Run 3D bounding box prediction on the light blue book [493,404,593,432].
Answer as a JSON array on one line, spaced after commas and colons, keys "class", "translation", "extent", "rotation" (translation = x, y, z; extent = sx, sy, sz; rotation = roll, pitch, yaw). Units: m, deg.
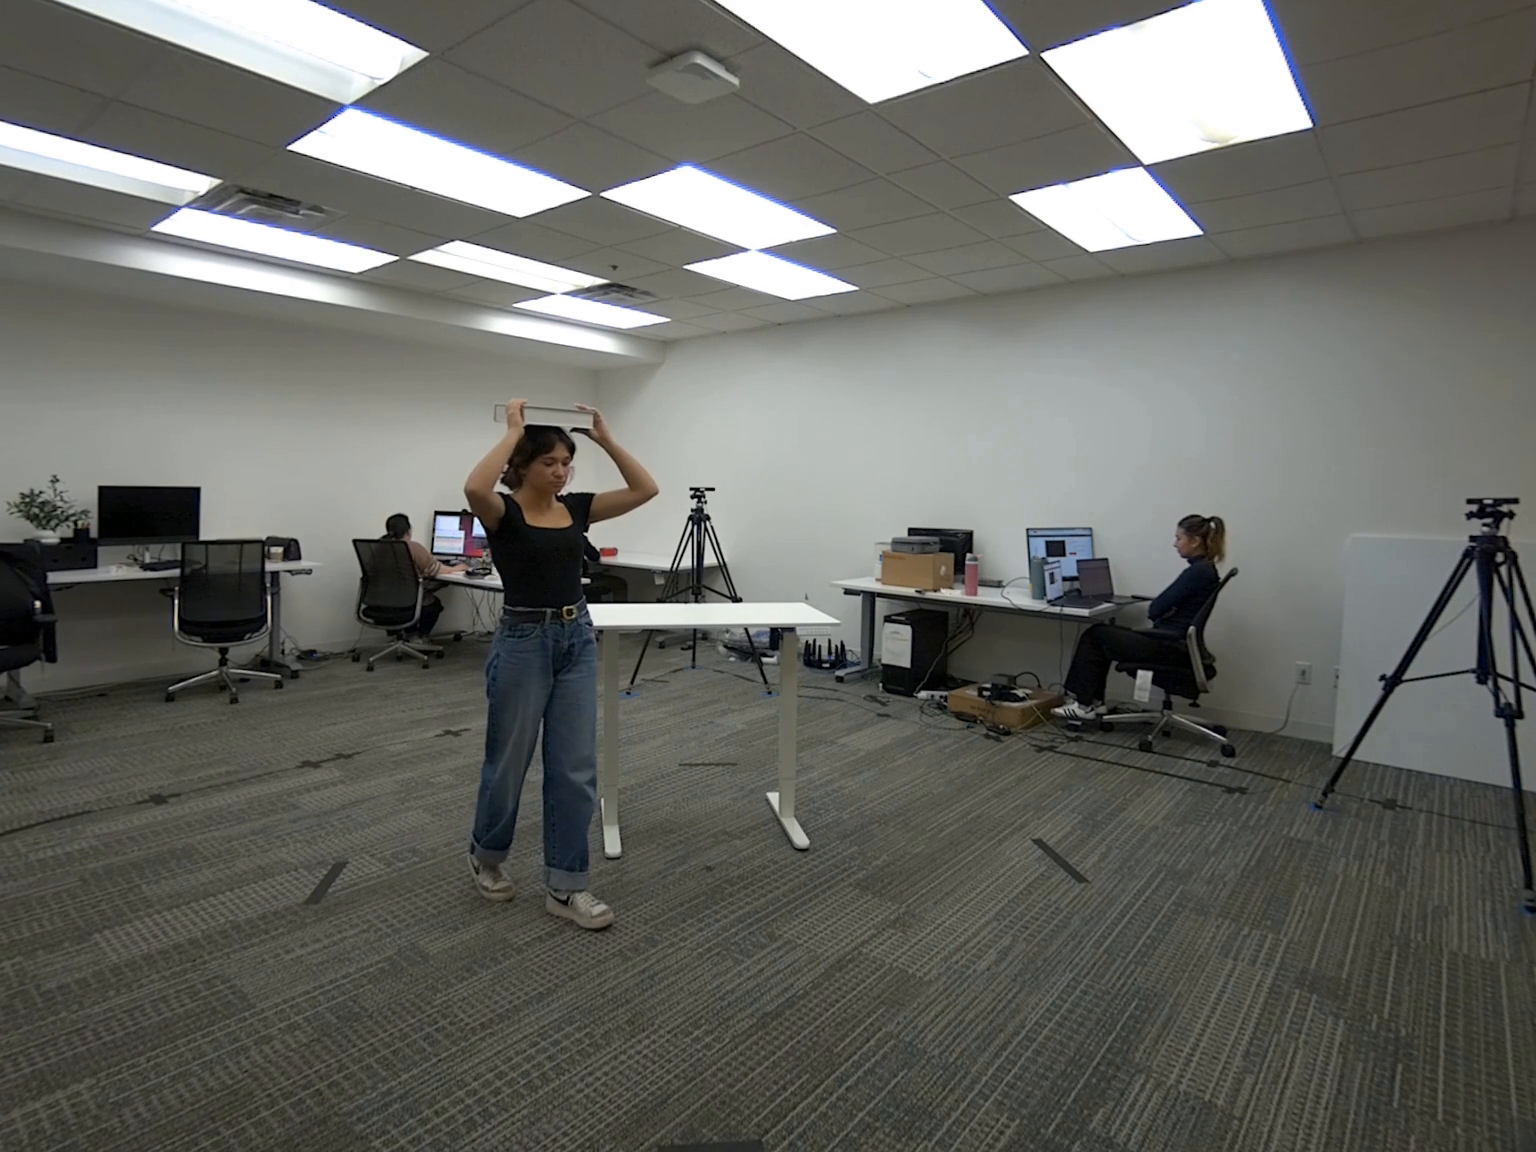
[{"class": "light blue book", "translation": [-0.744, -0.517, 2.750], "extent": [0.198, 0.058, 0.253], "rotation": [10, 11, 39]}]
